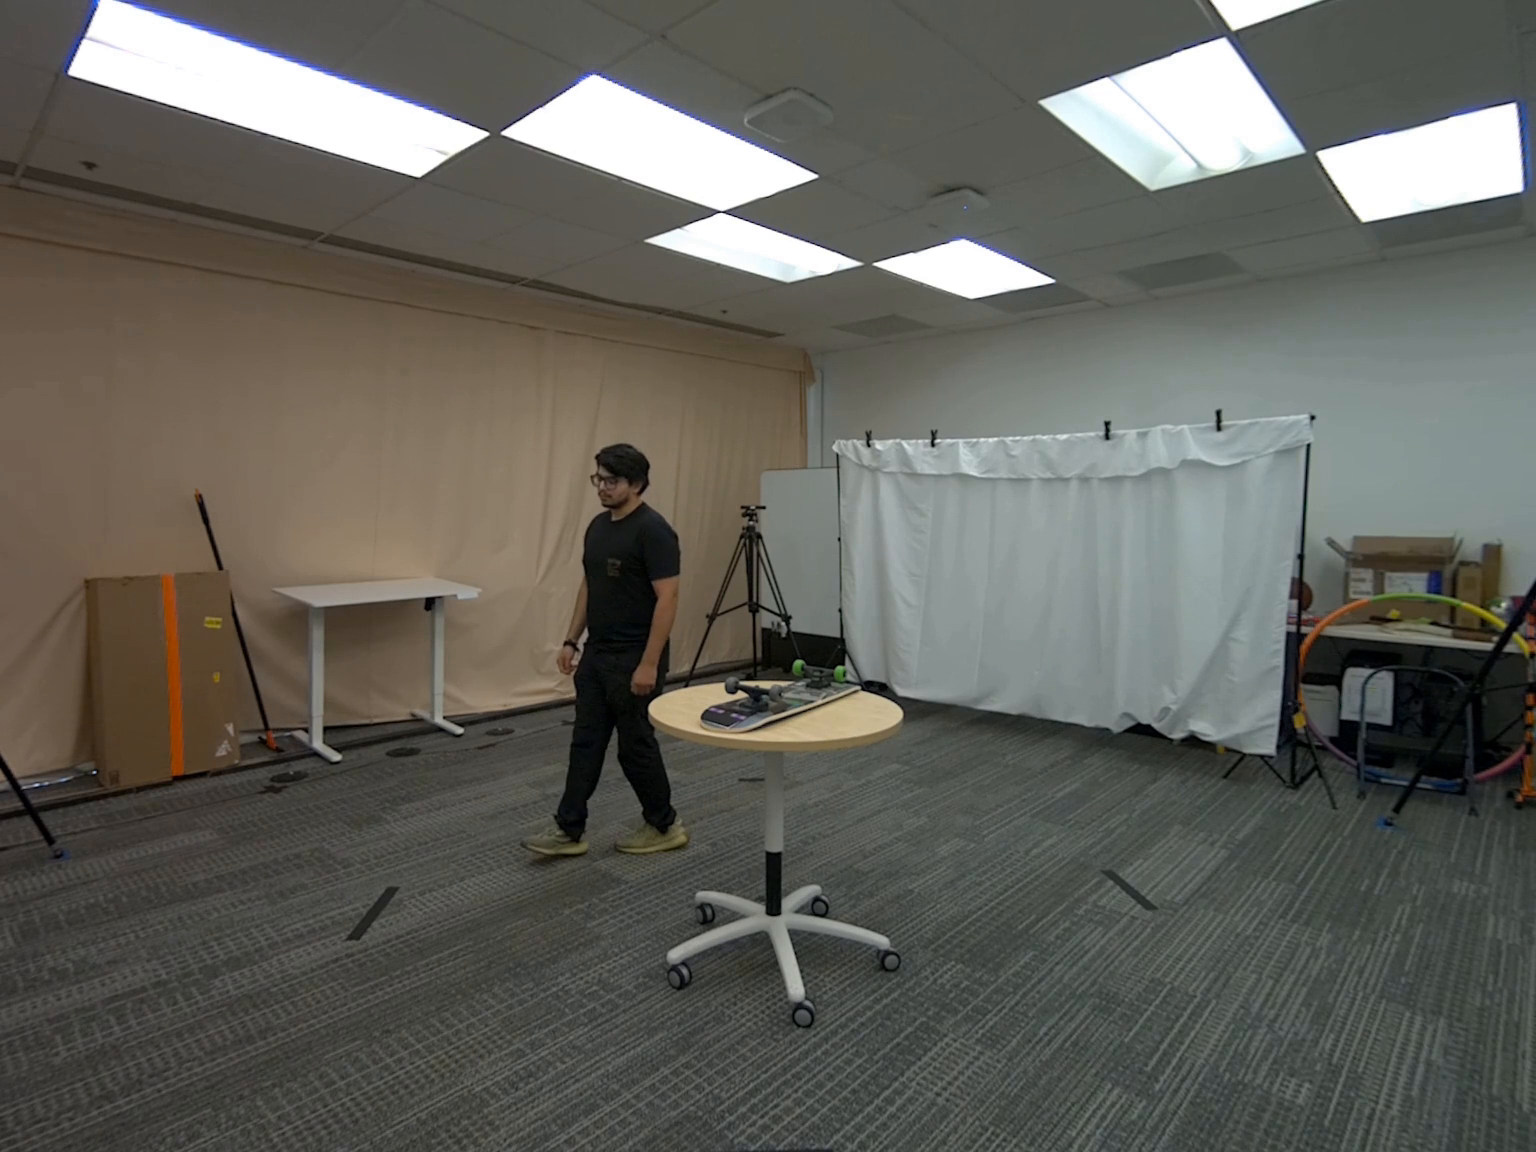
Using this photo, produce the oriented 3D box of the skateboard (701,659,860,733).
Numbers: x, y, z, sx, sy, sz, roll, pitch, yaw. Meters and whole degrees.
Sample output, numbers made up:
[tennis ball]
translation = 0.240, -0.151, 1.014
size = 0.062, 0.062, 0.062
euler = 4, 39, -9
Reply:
[skateboard]
translation = 0.071, 0.354, 2.577
size = 0.199, 0.110, 0.762
euler = 1, 3, 35
